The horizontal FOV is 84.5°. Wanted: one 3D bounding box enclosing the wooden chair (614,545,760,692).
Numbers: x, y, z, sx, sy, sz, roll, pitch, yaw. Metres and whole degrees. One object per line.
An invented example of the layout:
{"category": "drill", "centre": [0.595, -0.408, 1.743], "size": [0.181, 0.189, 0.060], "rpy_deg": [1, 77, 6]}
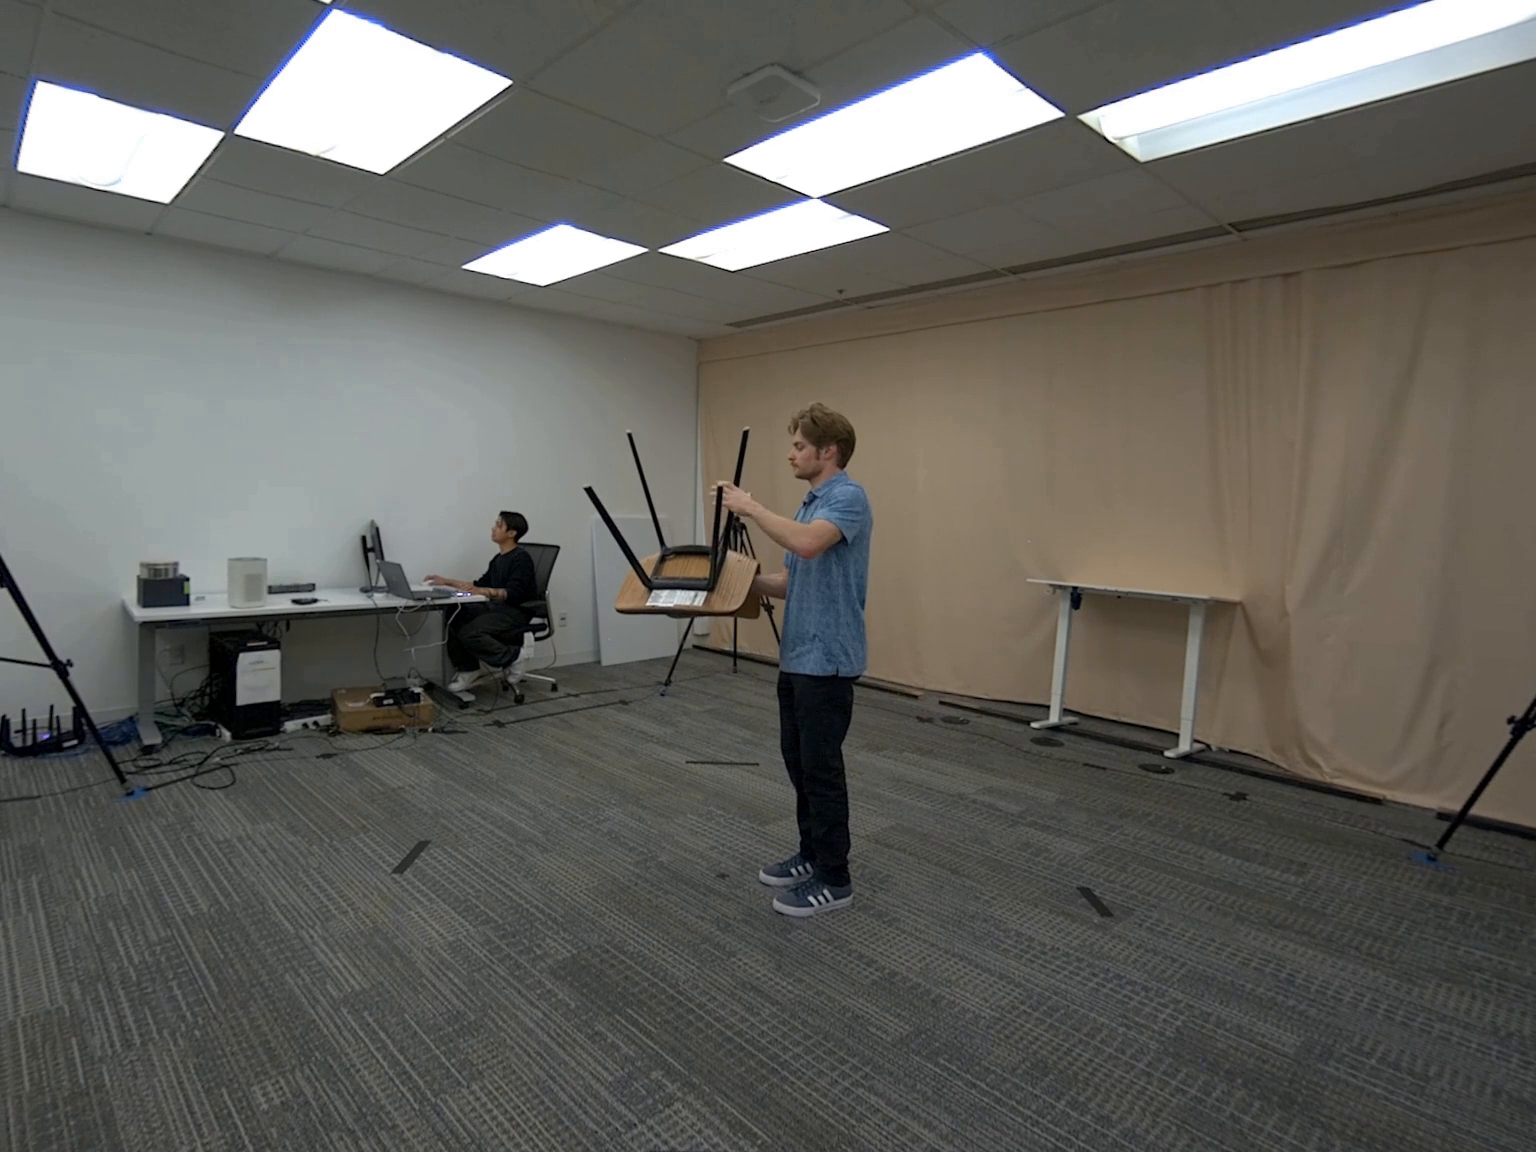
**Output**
{"category": "wooden chair", "centre": [-0.290, -0.025, 2.995], "size": [0.483, 0.857, 0.530], "rpy_deg": [1, 36, 12]}
